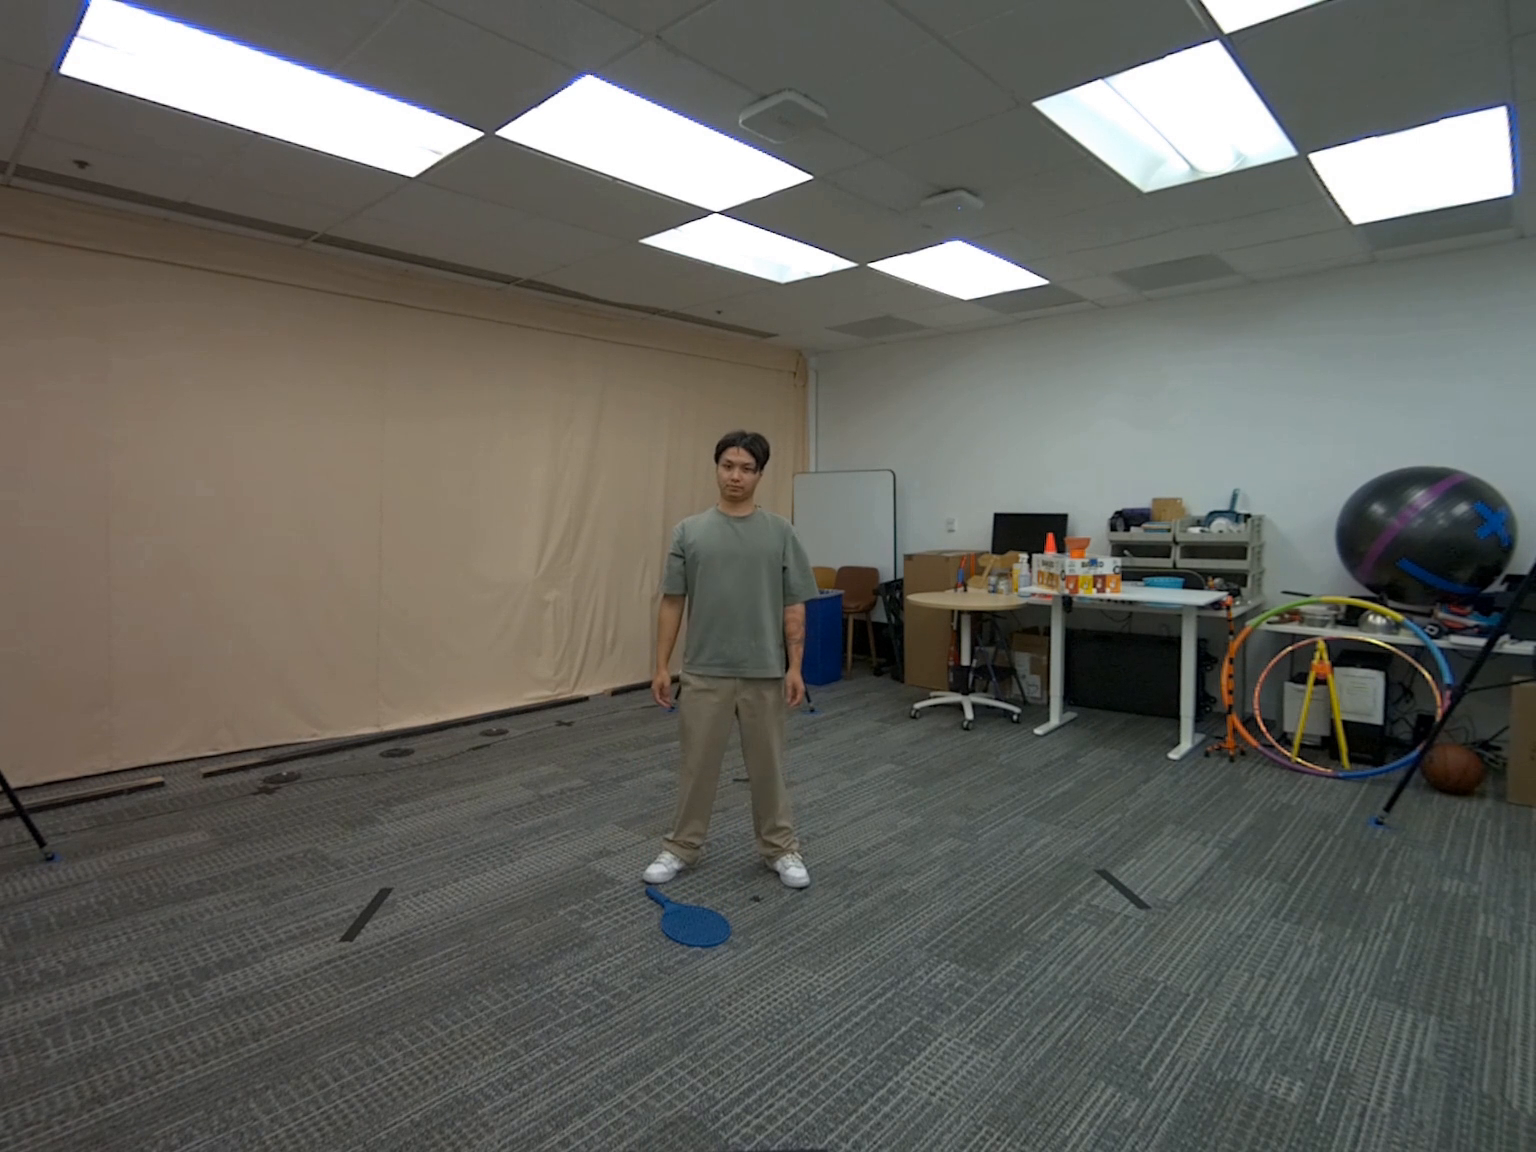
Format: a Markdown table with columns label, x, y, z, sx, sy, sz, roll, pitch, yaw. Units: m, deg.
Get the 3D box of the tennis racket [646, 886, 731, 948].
| label | x | y | z | sx | sy | sz | roll | pitch | yaw |
| --- | --- | --- | --- | --- | --- | --- | --- | --- | --- |
| tennis racket | -0.282 | 1.147 | 2.846 | 0.207 | 0.031 | 0.447 | -4 | 7 | -35 |
